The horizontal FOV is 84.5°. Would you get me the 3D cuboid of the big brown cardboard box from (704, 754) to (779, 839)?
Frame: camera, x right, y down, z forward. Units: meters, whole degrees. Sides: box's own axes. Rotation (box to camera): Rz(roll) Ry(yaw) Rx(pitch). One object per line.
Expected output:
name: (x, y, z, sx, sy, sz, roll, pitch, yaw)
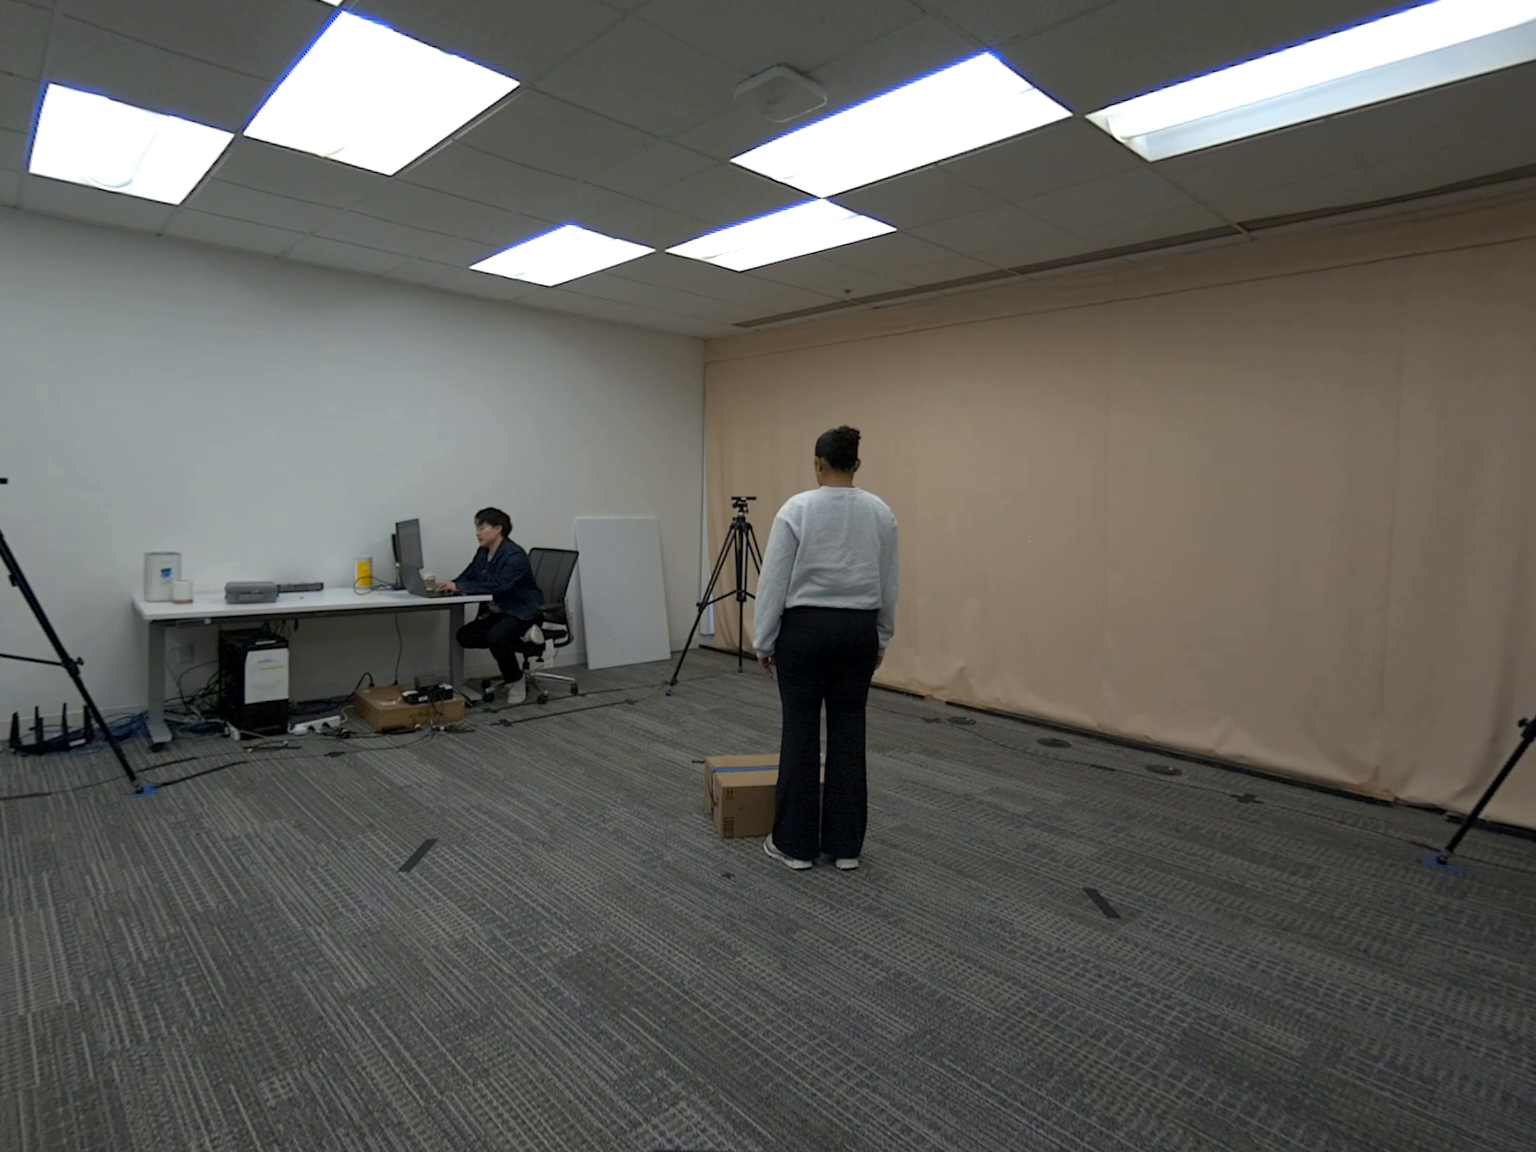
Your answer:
big brown cardboard box: (0.028, 0.945, 3.696, 0.583, 0.232, 0.423, -1, 5, -13)
